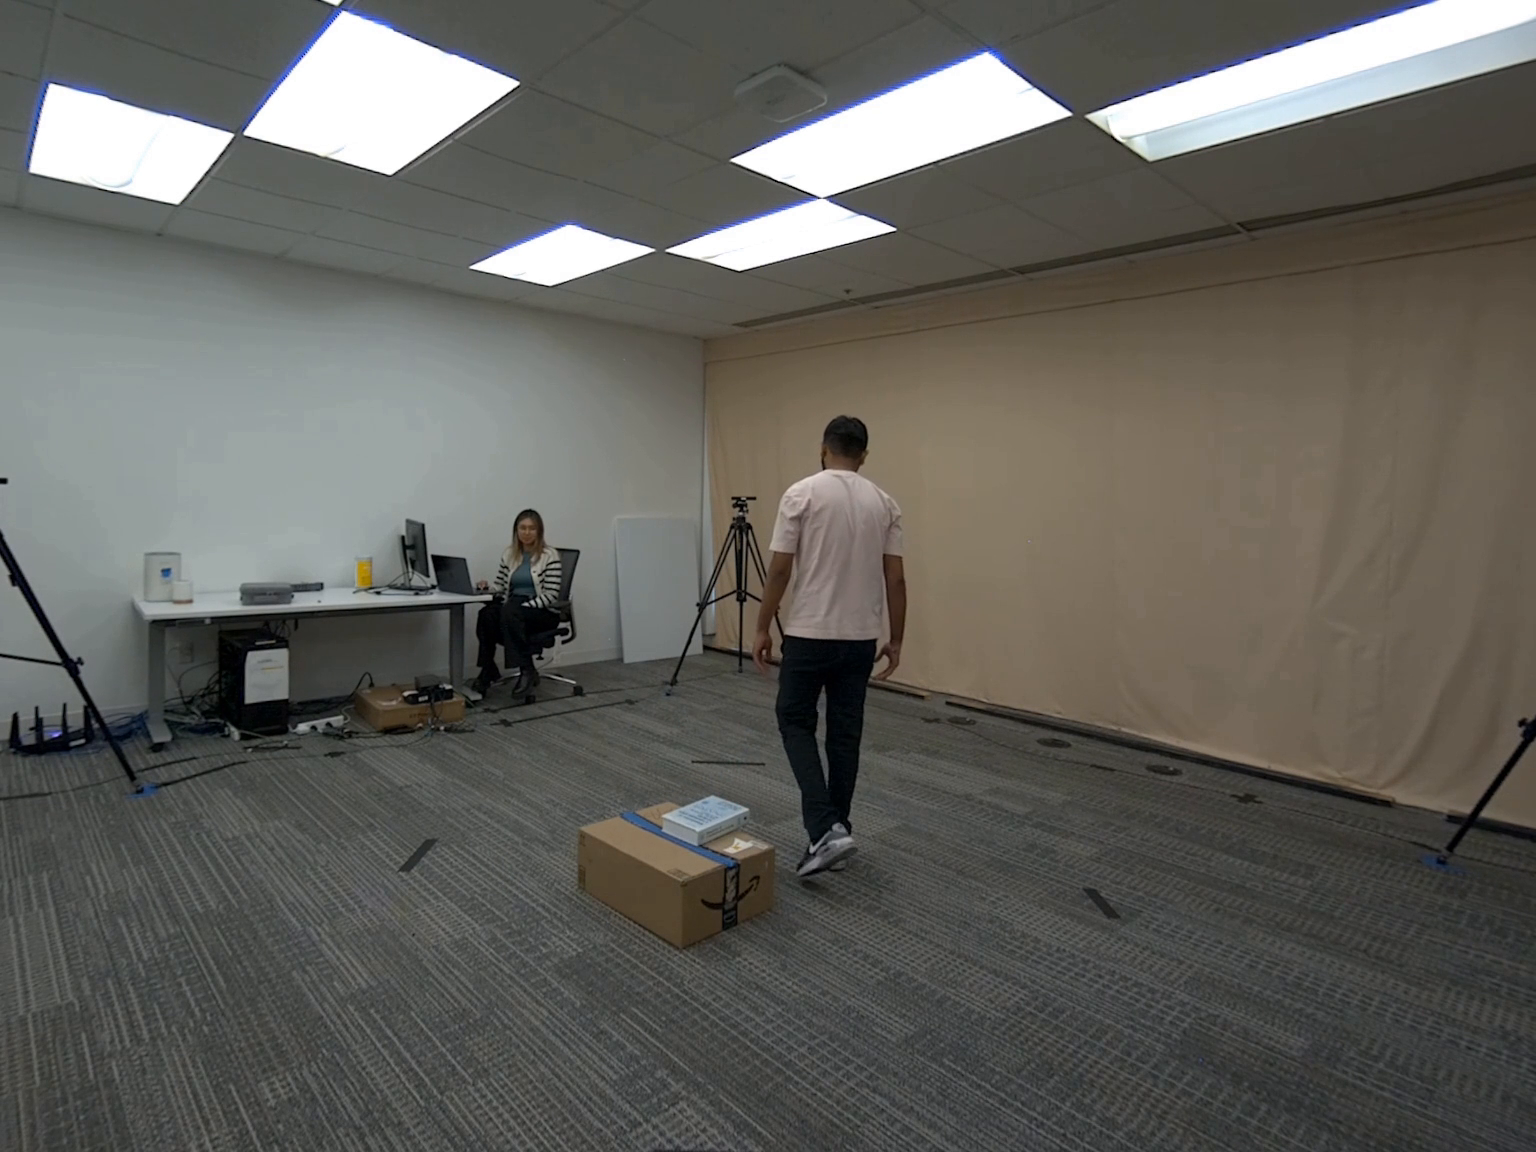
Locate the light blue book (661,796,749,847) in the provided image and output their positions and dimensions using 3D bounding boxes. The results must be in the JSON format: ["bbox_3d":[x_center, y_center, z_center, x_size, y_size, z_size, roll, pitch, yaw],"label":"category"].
[{"bbox_3d":[-0.228,0.870,3.006,0.196,0.059,0.255,6,9,42],"label":"light blue book"}]
